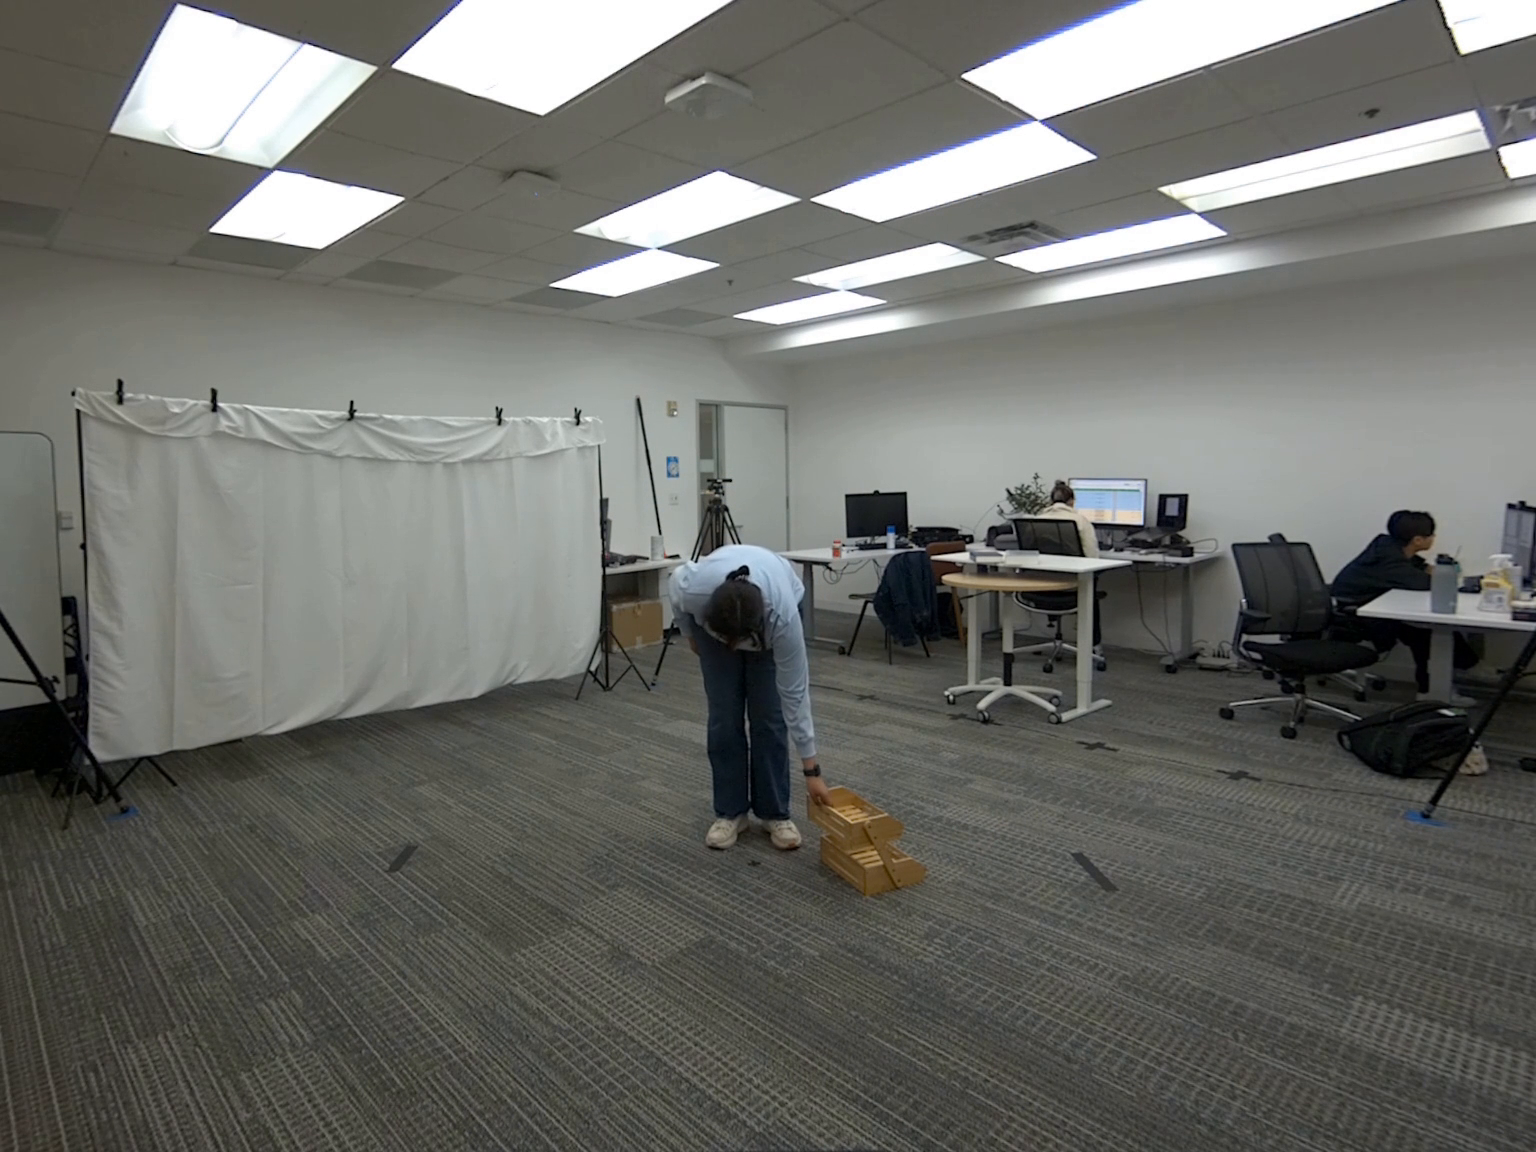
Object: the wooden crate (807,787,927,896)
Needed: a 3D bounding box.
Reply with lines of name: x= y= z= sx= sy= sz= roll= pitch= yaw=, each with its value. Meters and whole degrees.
wooden crate: x=0.351 y=0.913 z=3.019 sx=0.296 sy=0.272 sz=0.332 roll=-4 pitch=6 yaw=-25
